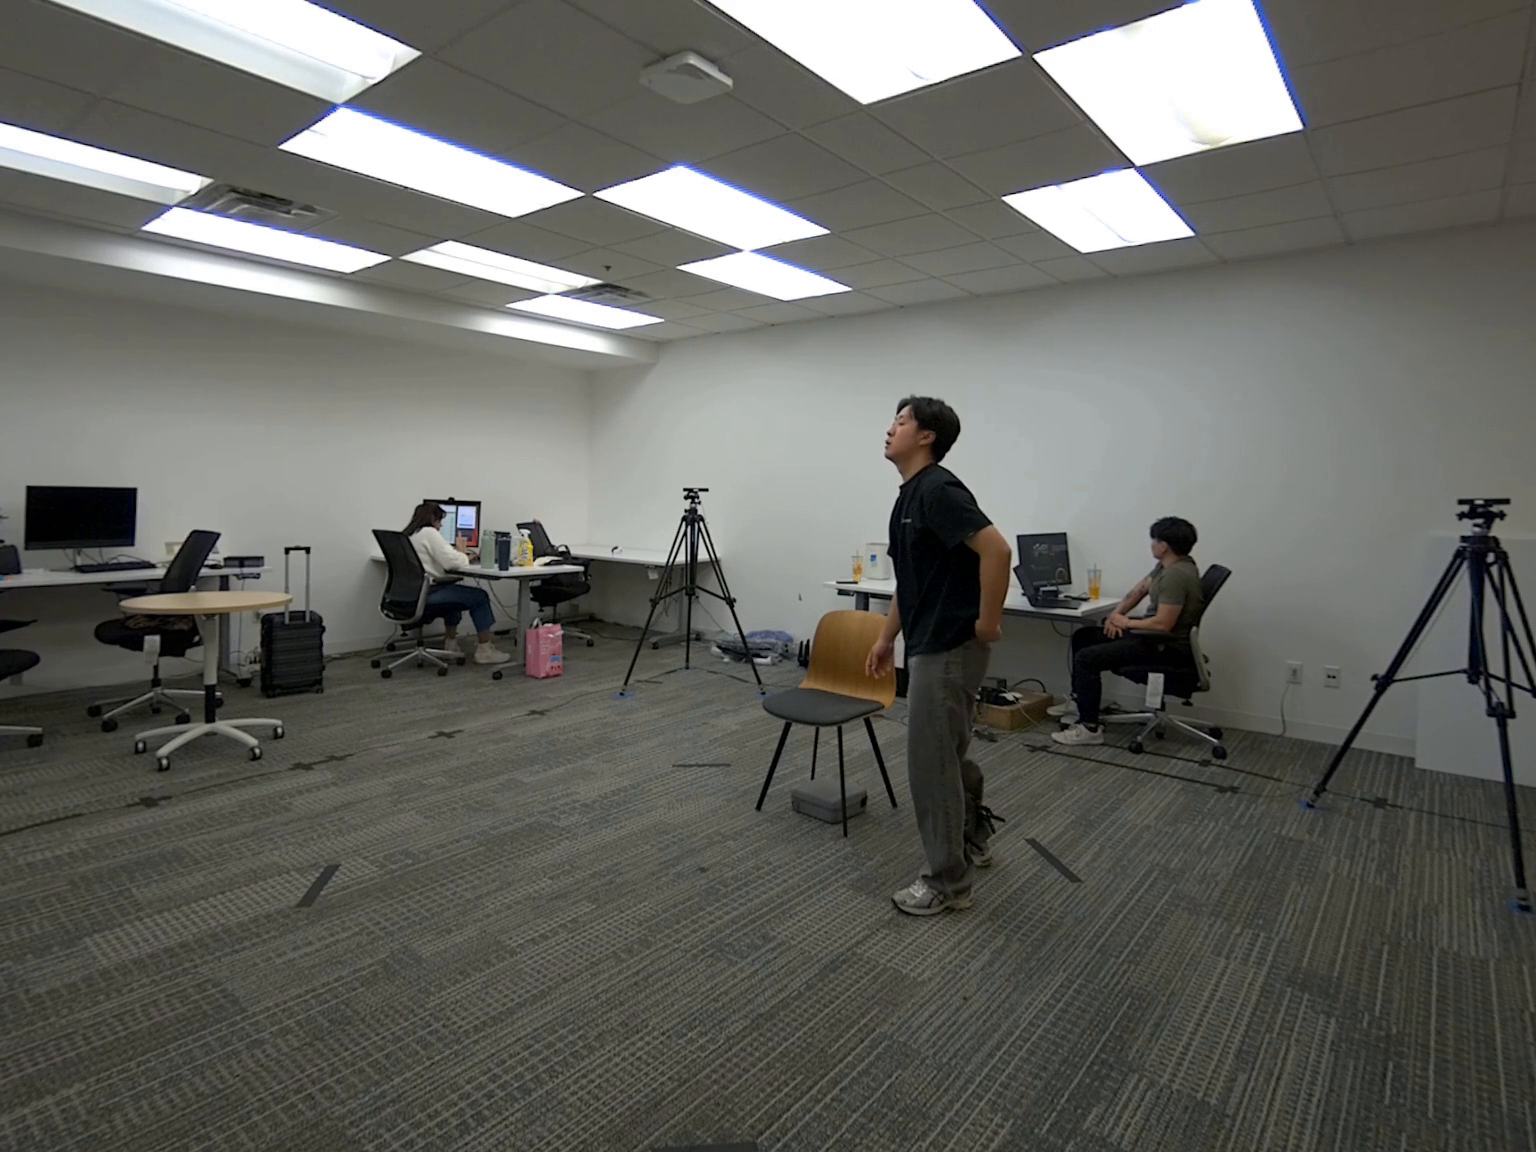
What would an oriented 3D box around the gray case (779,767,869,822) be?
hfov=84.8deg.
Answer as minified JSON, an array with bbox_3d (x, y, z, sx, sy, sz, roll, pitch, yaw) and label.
[{"bbox_3d":[0.243,0.958,3.715,0.255,0.103,0.297,-3,6,-44],"label":"gray case"}]
